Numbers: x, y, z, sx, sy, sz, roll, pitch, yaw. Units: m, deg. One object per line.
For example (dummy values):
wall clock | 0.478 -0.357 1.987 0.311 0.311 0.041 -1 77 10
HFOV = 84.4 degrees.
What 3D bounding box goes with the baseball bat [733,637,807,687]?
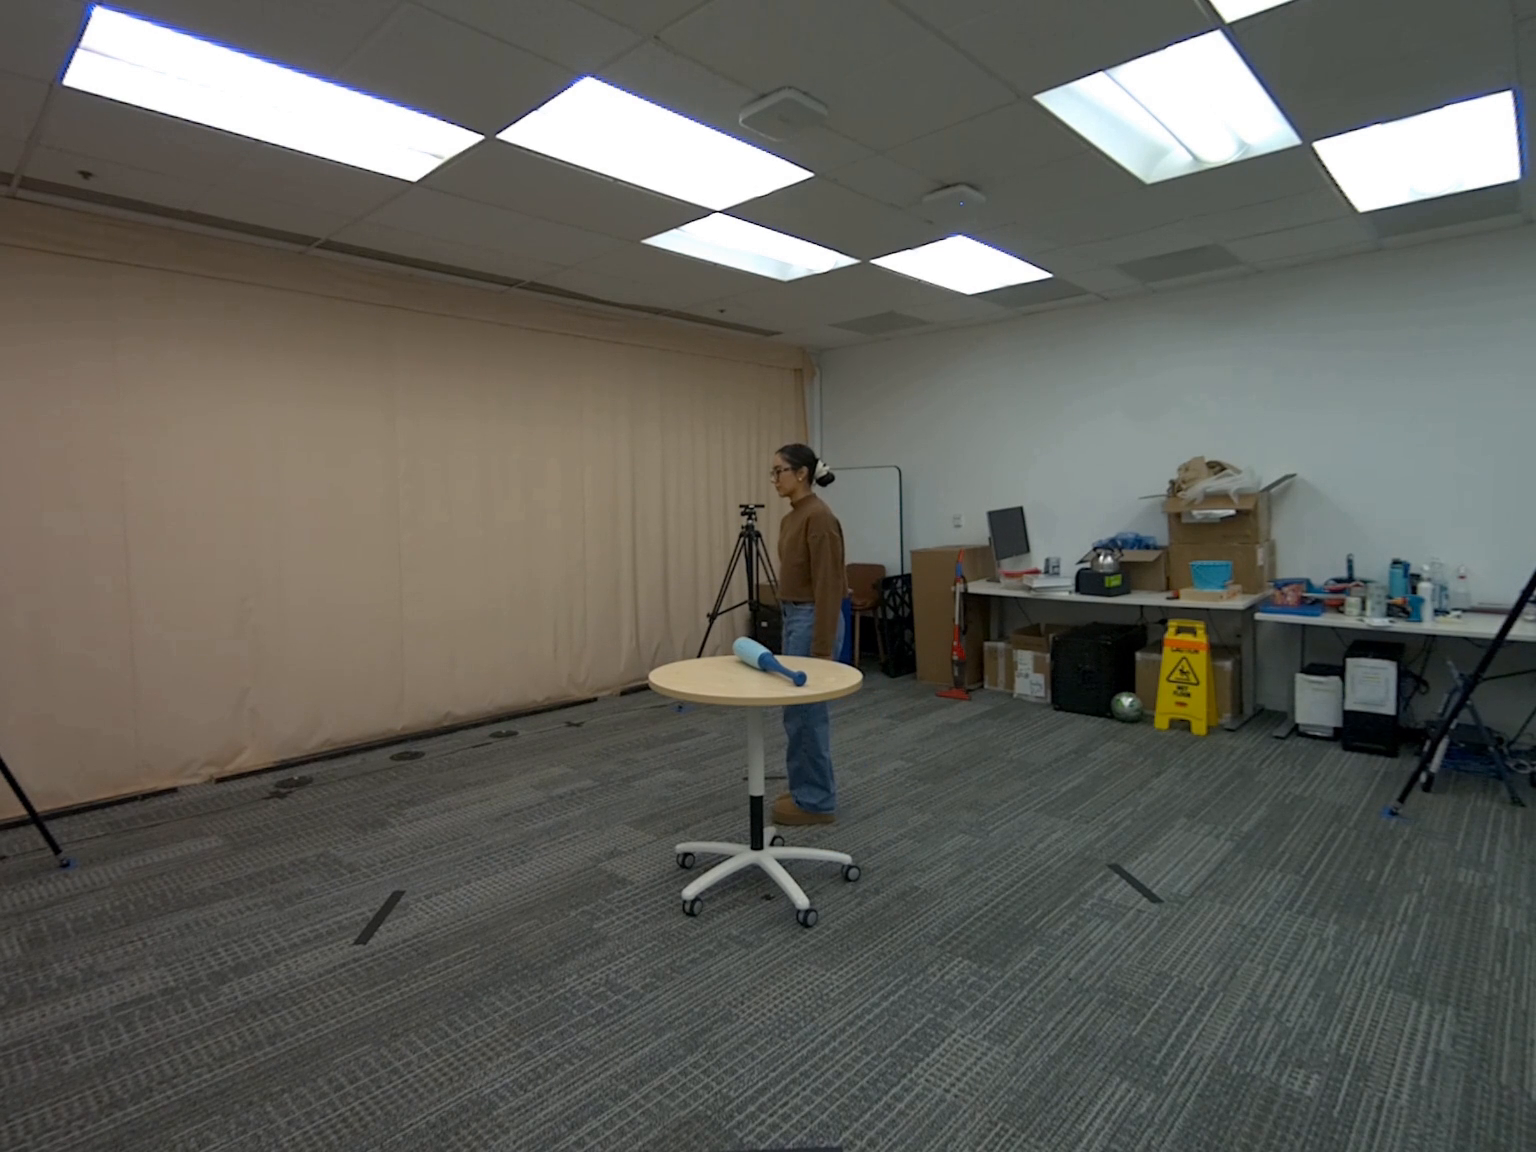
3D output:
baseball bat | 0.007 0.315 3.061 0.087 0.088 0.557 -2 8 -23
